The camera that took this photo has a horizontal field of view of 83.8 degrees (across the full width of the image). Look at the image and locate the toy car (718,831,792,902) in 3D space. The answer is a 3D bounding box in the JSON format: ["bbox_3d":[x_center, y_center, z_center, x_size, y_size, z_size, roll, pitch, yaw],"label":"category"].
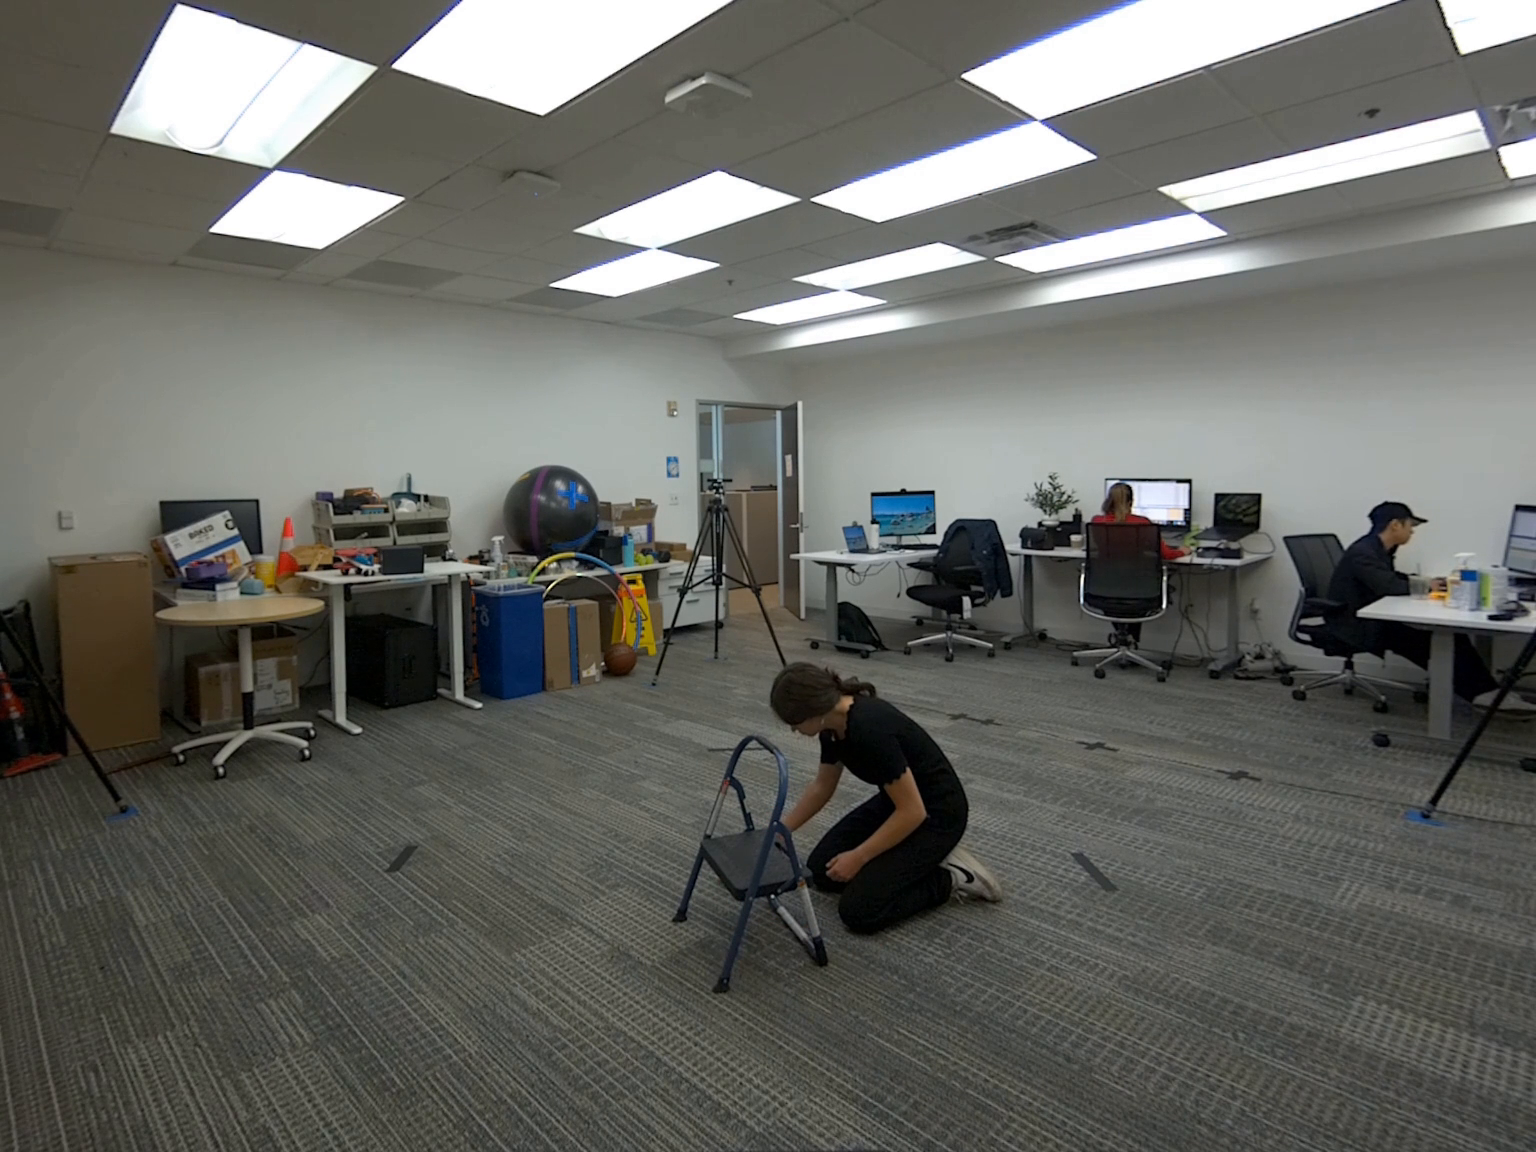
[{"bbox_3d":[-0.045,1.020,3.029,0.134,0.082,0.251,2,17,34],"label":"toy car"}]
